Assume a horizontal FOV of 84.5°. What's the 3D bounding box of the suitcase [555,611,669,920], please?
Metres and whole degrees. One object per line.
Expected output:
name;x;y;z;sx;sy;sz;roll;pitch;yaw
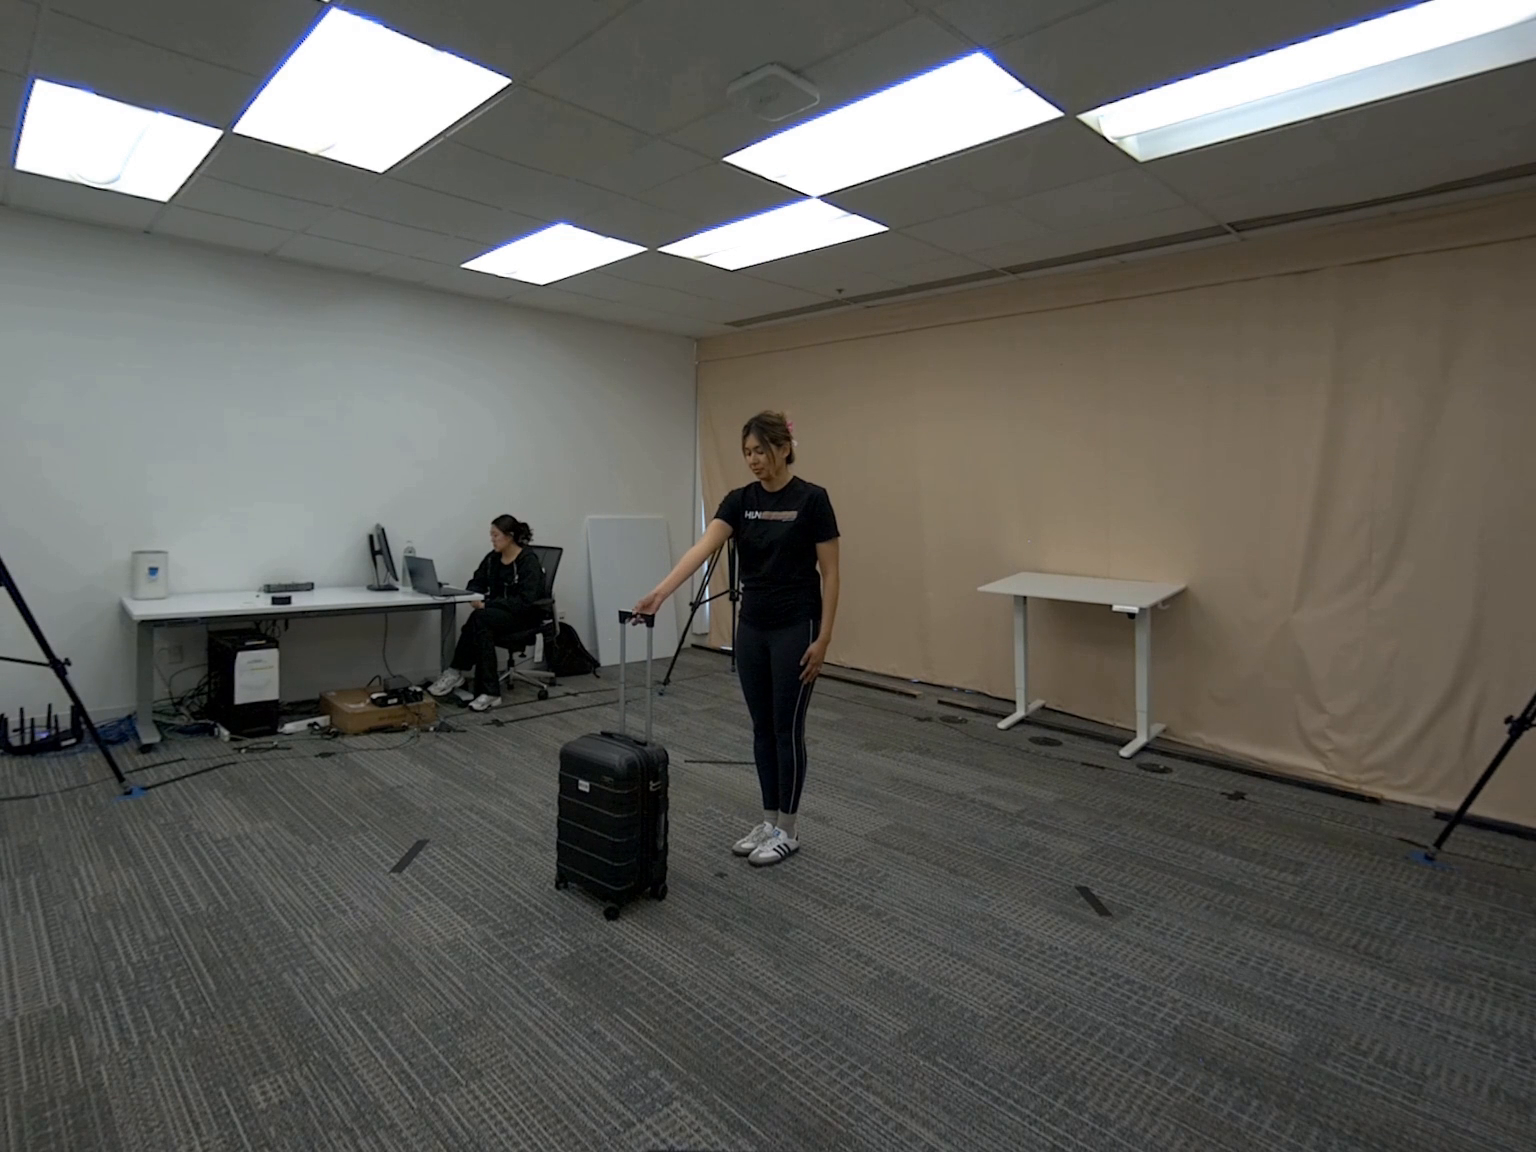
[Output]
suitcase;-0.547;0.639;2.910;0.393;0.975;0.251;5;6;38
